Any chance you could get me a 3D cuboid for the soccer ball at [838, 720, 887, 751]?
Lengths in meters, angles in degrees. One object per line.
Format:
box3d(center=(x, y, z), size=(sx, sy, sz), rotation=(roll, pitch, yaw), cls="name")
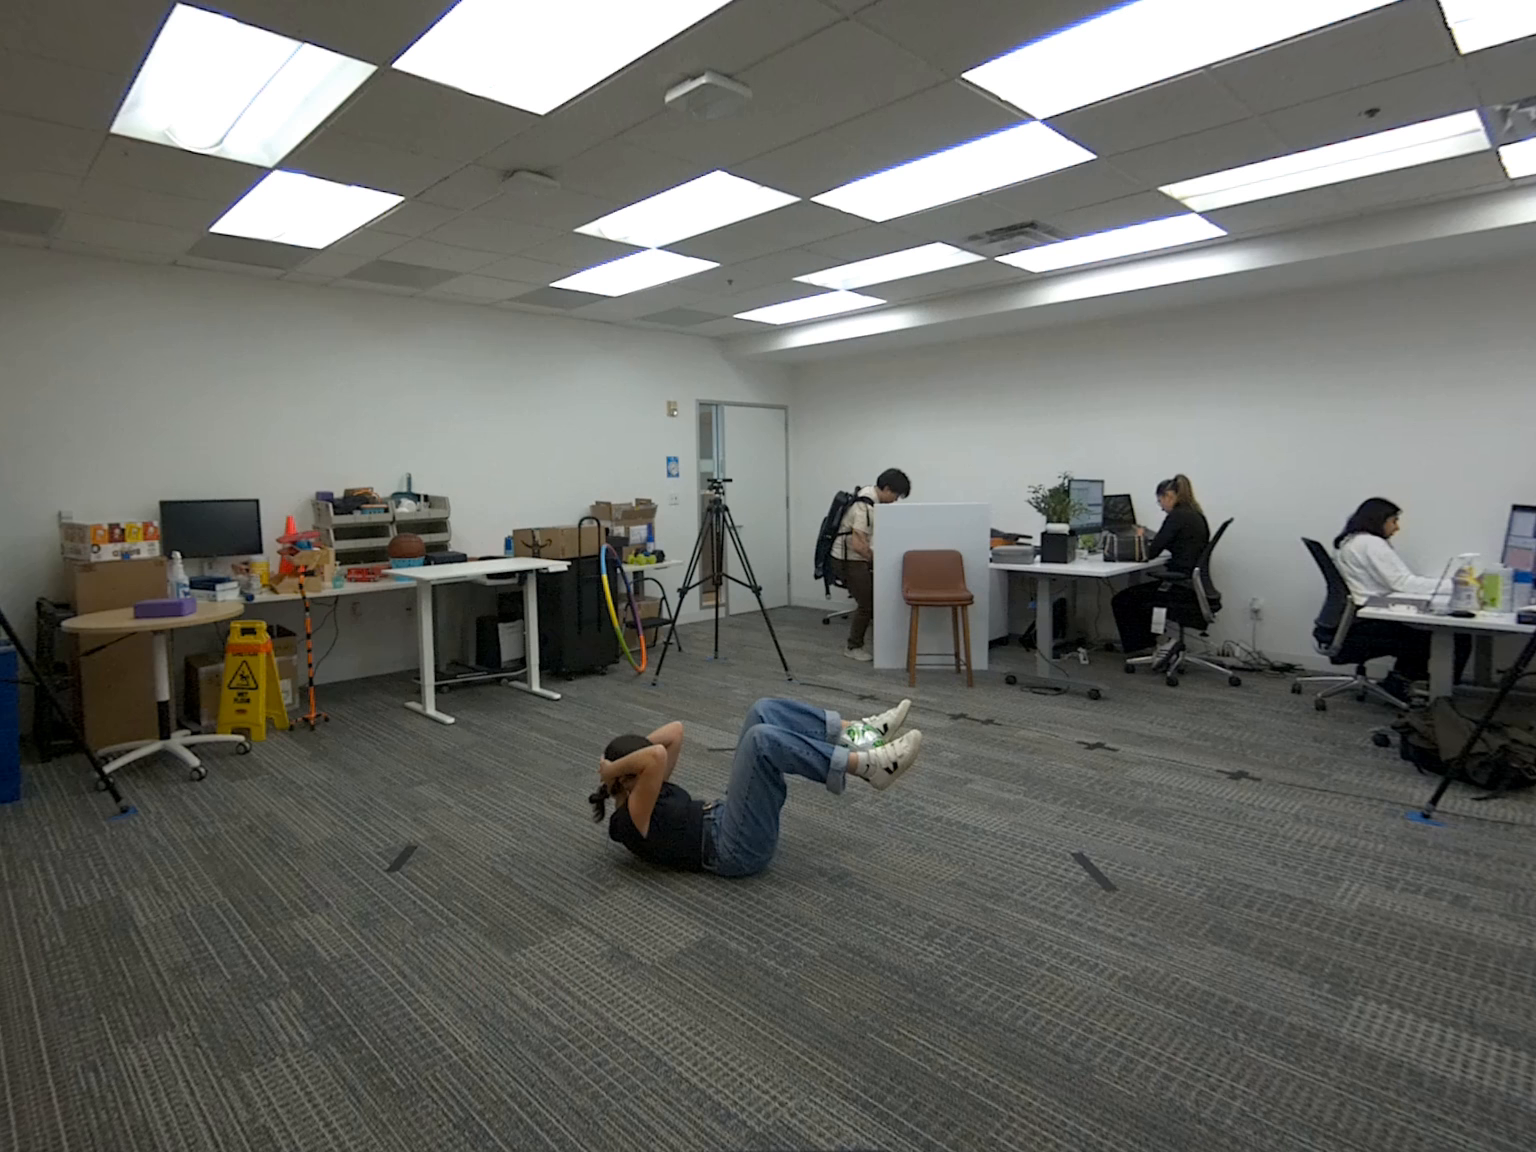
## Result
box3d(center=(0.337, 0.621, 3.053), size=(0.187, 0.187, 0.188), rotation=(0, 1, -2), cls="soccer ball")
